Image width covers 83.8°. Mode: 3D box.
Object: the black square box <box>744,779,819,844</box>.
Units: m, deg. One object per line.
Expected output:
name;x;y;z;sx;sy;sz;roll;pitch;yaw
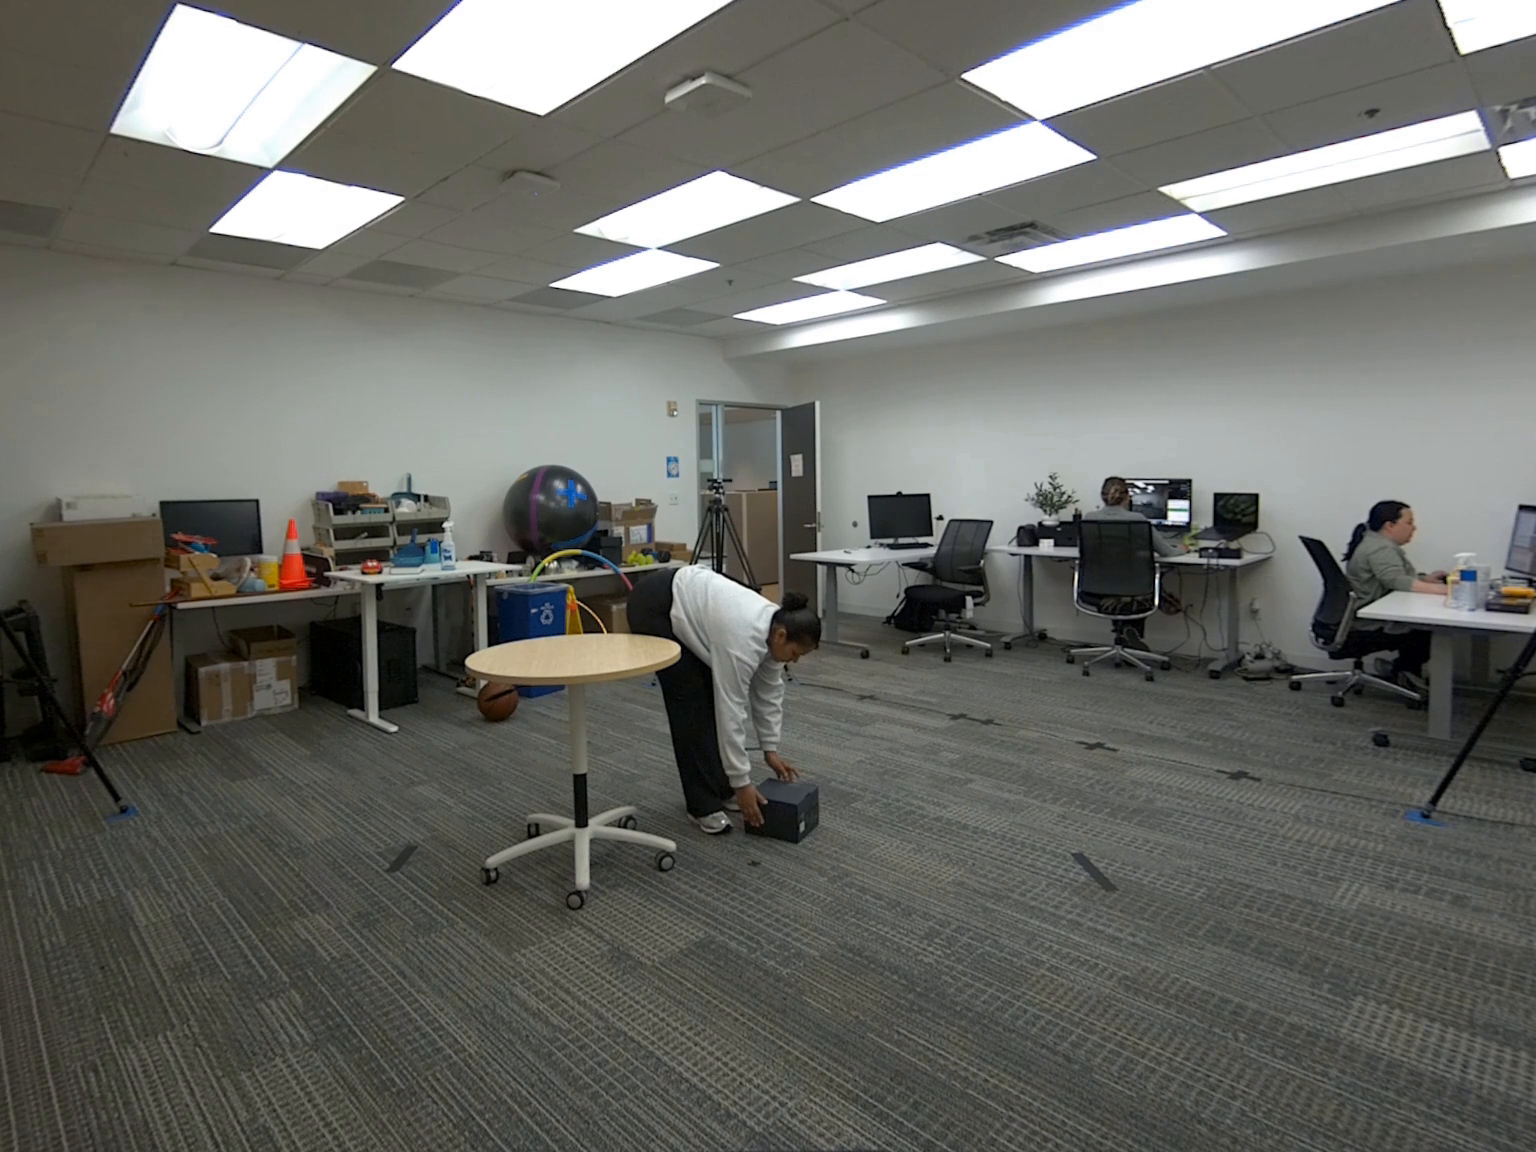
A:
black square box;0.053;0.922;3.405;0.234;0.155;0.212;2;6;28
